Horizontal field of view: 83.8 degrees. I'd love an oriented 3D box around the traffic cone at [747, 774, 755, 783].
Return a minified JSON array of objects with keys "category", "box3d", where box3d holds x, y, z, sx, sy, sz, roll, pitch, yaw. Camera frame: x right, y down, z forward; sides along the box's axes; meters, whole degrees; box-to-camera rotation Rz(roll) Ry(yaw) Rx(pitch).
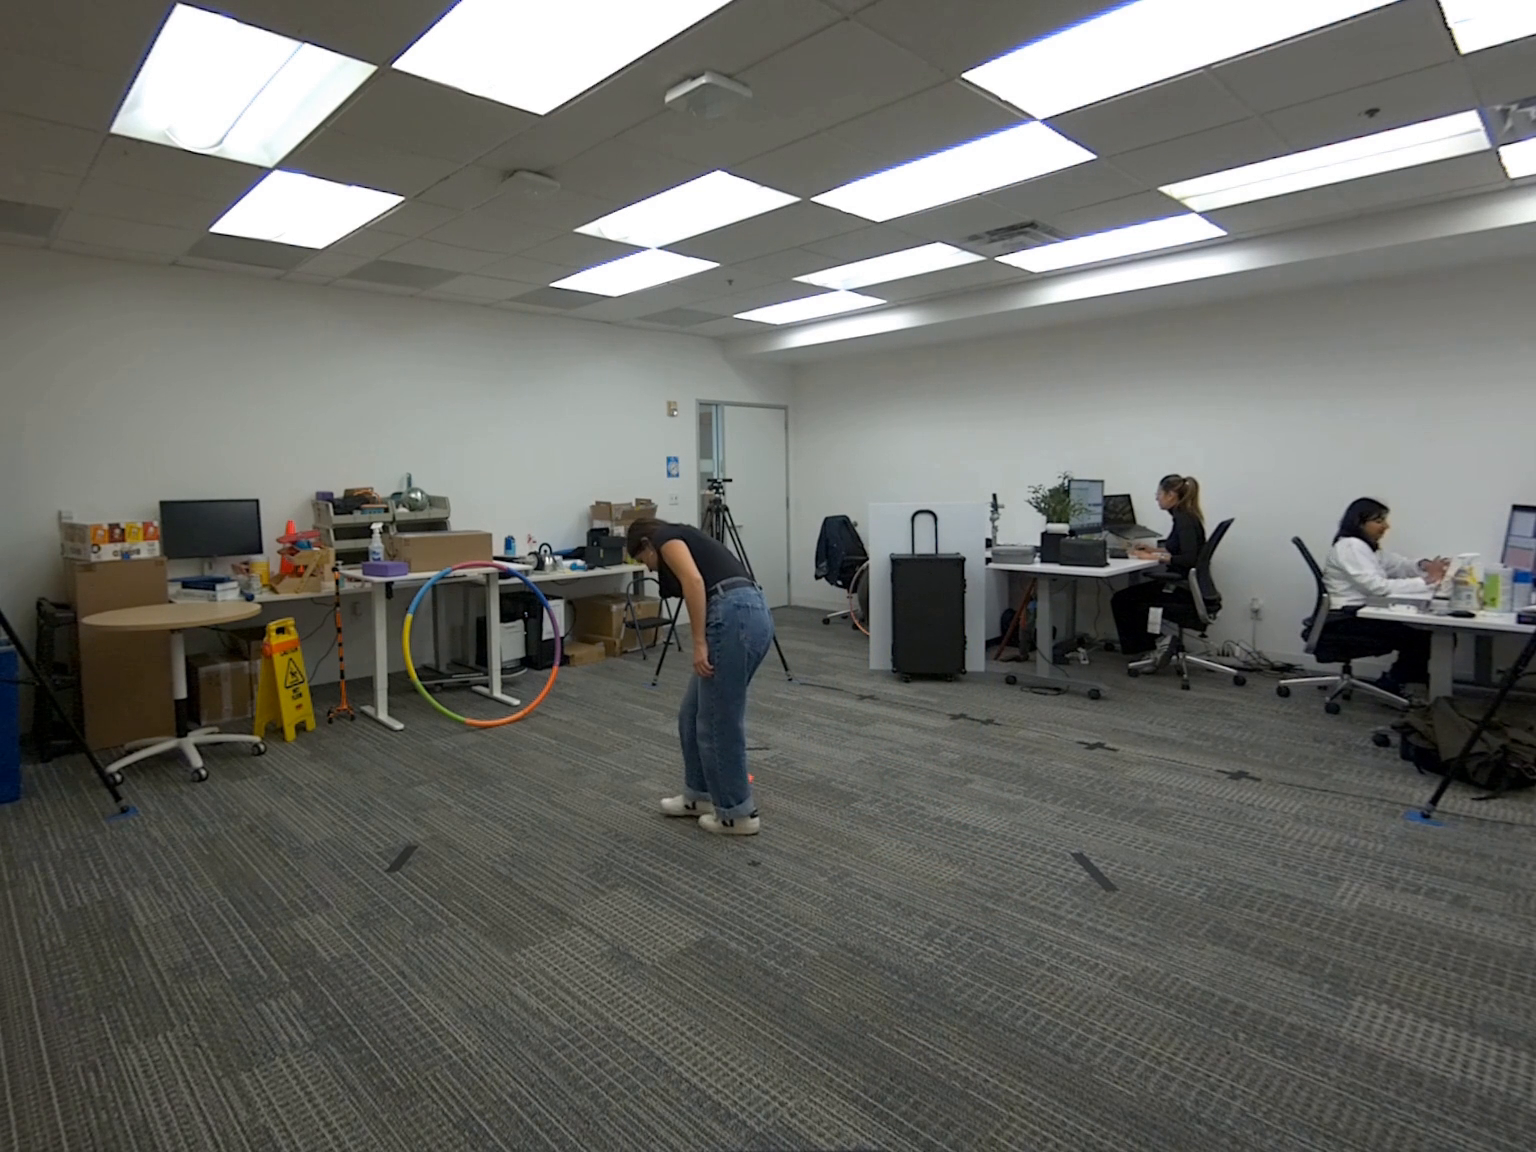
[{"category":"traffic cone","box3d":[-0.243,0.772,3.725,0.203,0.374,0.210,-35,26,-32]}]
